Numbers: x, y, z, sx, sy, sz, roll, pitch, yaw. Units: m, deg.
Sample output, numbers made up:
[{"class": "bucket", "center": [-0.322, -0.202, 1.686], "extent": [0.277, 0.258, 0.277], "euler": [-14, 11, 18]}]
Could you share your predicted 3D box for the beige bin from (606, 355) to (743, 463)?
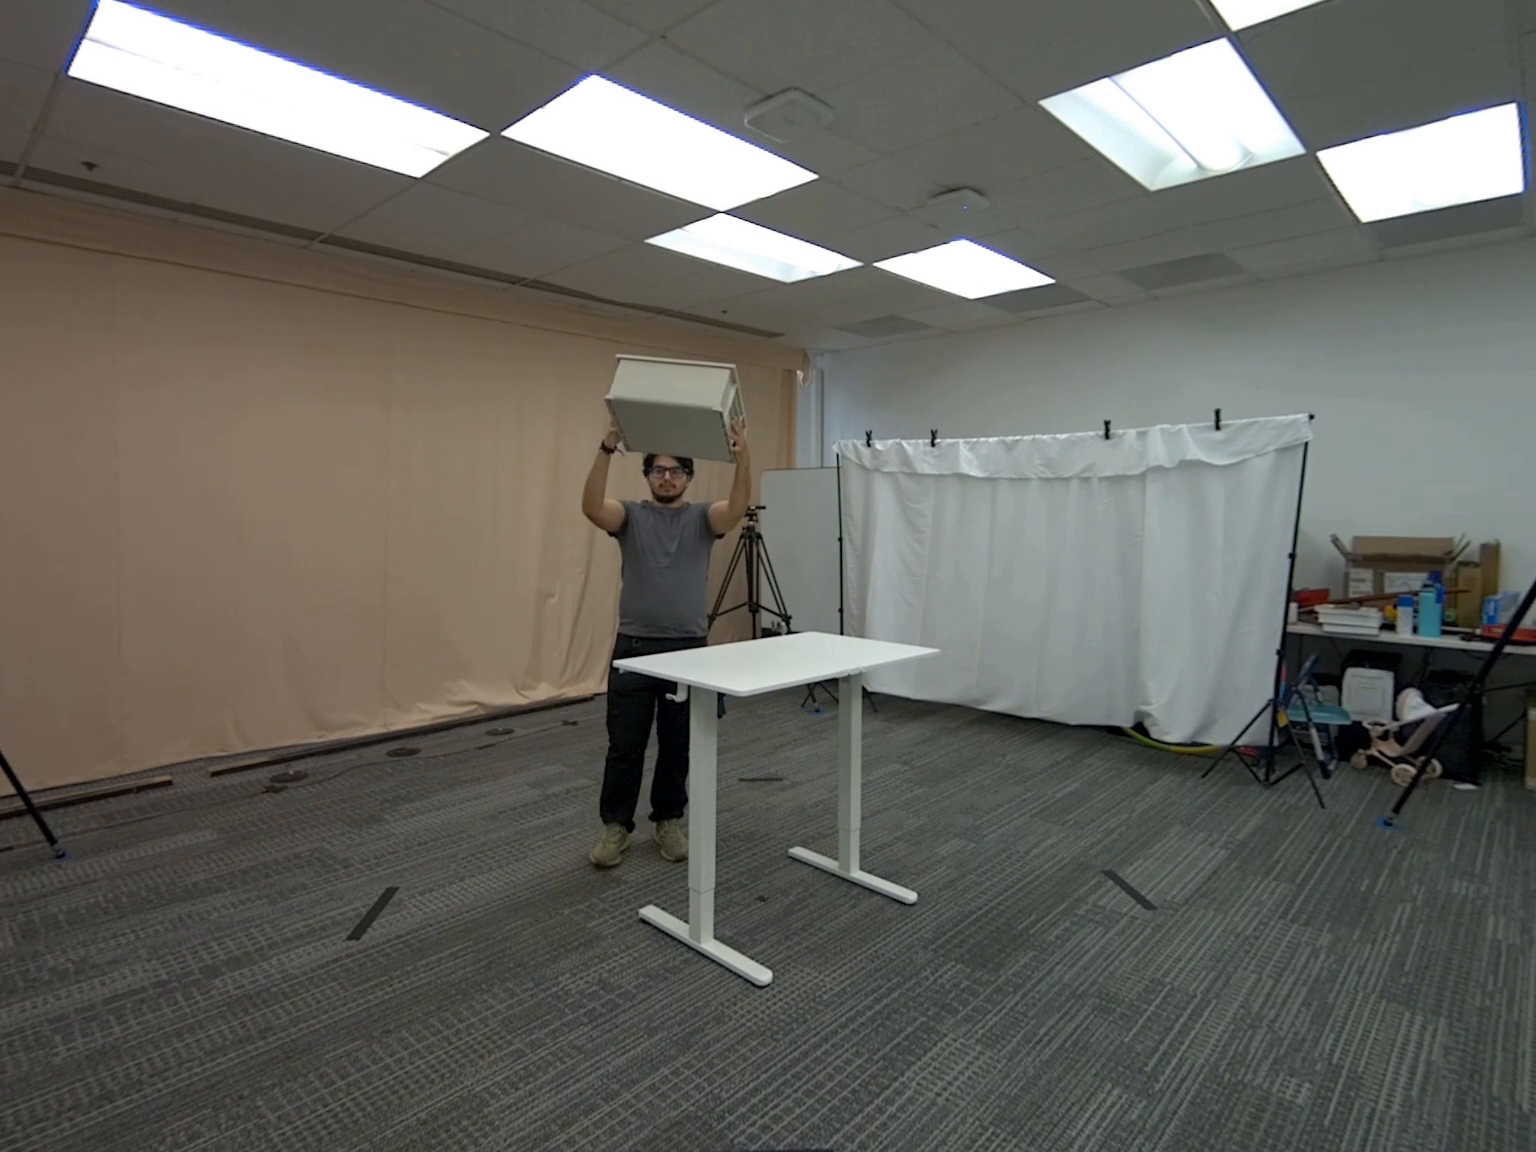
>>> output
[{"class": "beige bin", "center": [-0.311, -0.563, 2.934], "extent": [0.429, 0.190, 0.369], "euler": [9, -24, 12]}]
